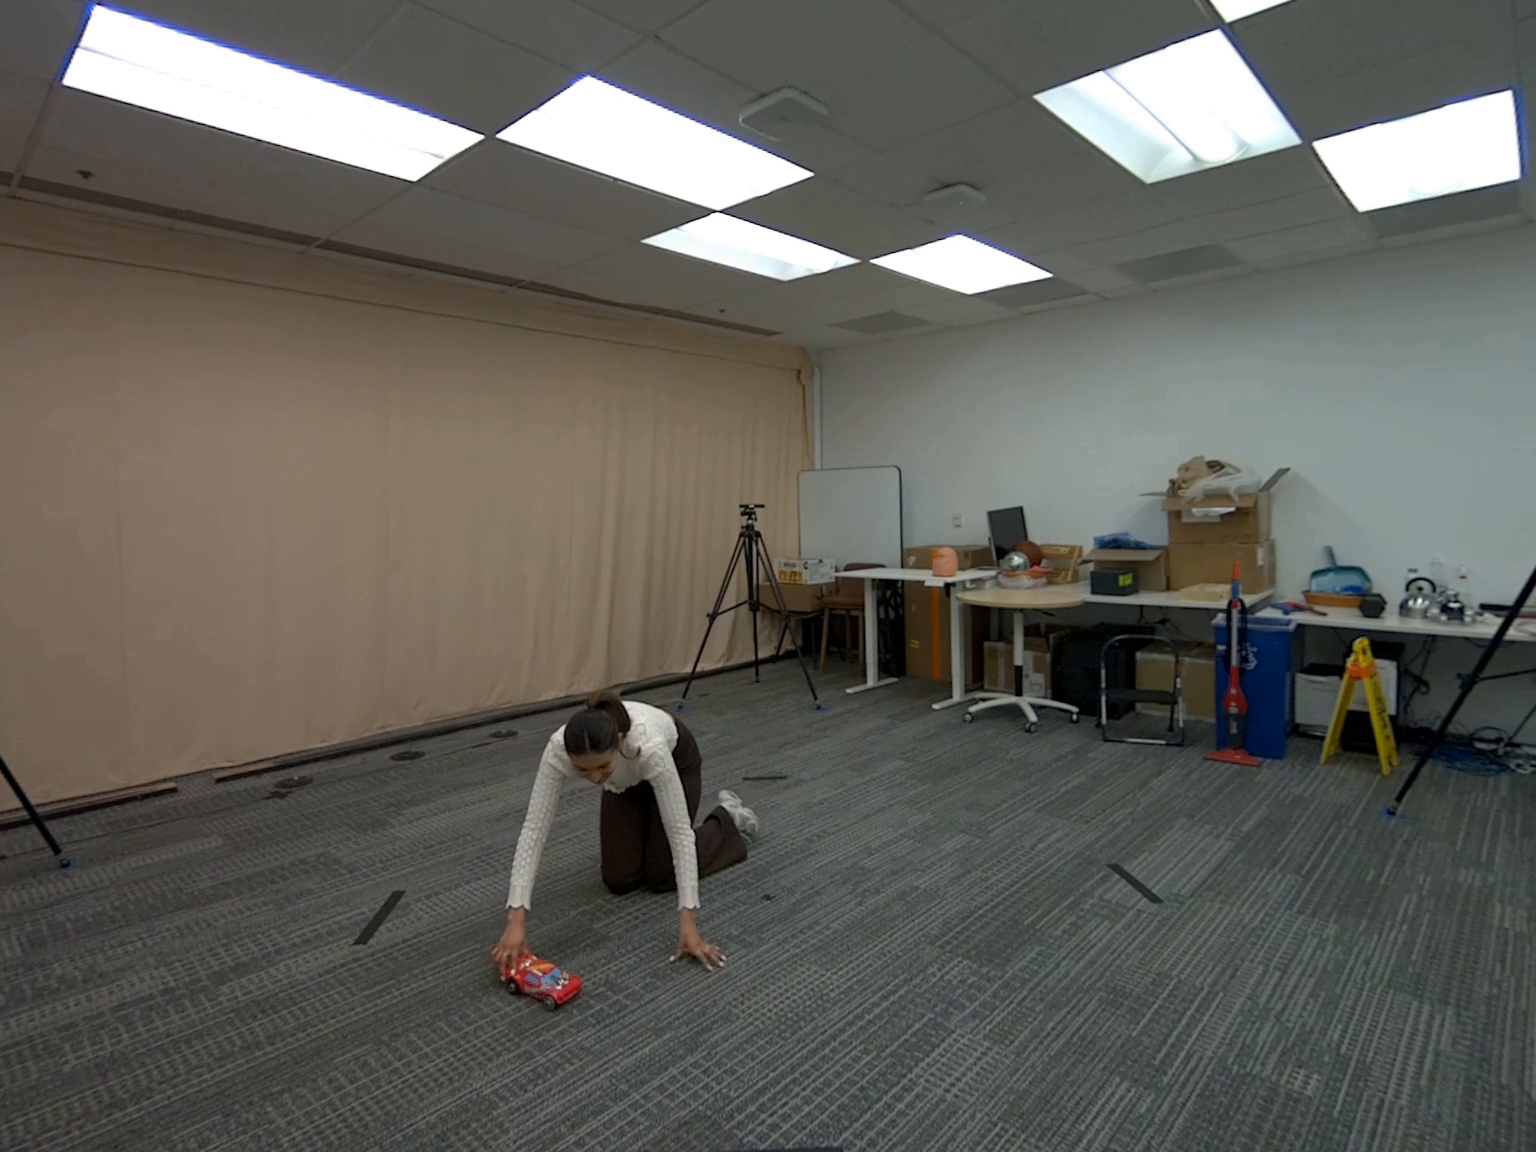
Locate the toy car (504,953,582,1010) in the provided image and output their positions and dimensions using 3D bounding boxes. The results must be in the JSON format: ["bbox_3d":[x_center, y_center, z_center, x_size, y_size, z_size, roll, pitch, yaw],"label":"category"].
[{"bbox_3d":[-0.659,1.163,2.436,0.263,0.083,0.127,13,13,32],"label":"toy car"}]
